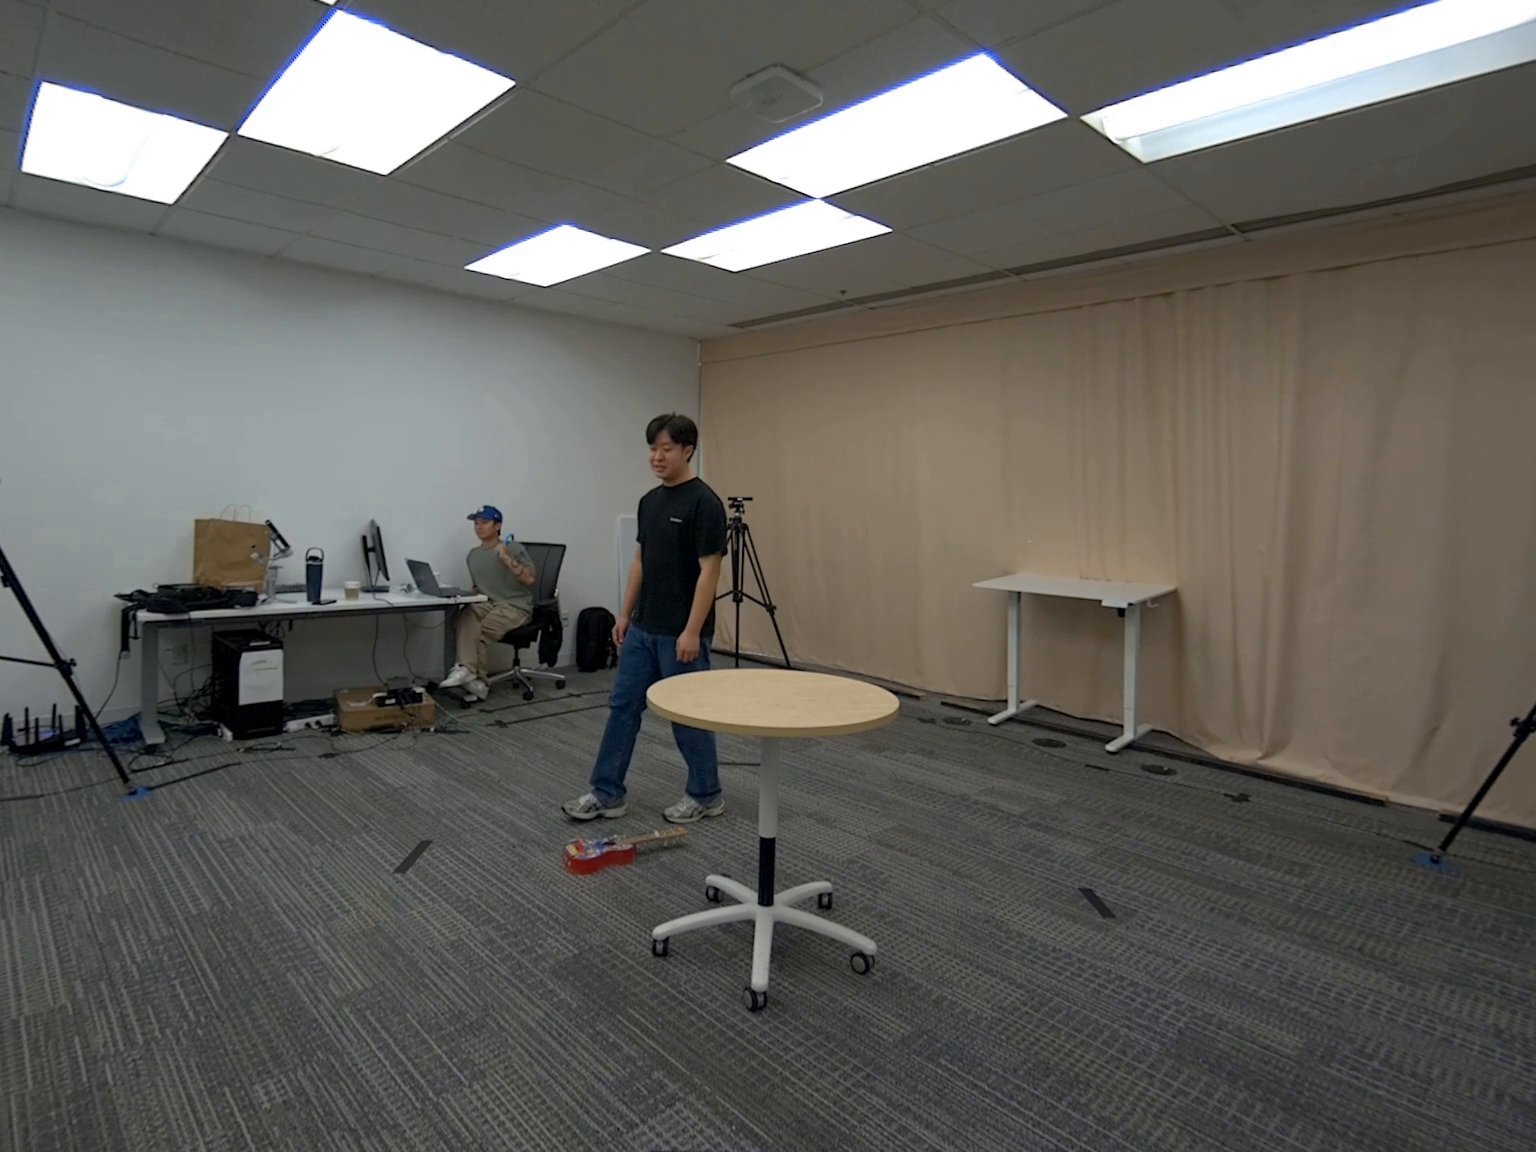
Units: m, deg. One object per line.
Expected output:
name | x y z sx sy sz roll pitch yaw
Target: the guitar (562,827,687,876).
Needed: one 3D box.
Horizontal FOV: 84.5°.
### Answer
guitar | -0.541 1.055 3.228 0.491 0.070 0.196 -1 5 -18
